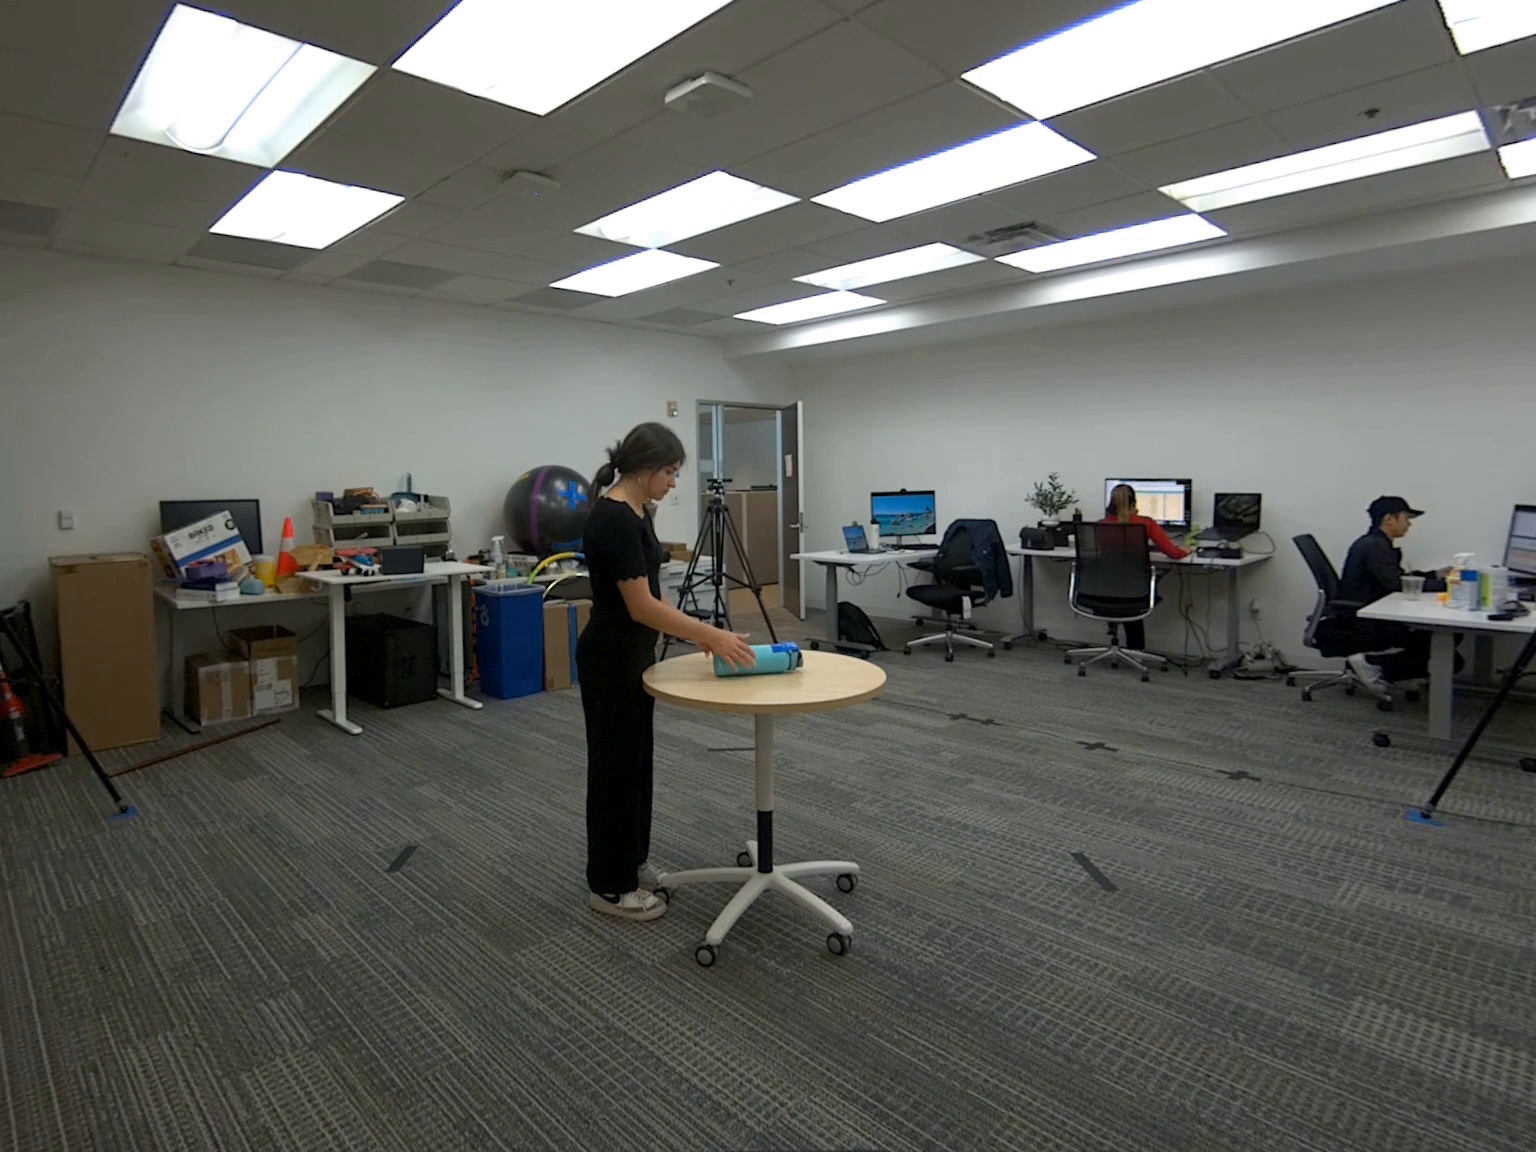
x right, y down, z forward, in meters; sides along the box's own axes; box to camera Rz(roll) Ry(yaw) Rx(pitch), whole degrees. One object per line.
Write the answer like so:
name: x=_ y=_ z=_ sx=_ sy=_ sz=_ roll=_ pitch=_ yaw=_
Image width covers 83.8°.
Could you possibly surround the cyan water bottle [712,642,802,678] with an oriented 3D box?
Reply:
cyan water bottle: x=-0.028 y=0.260 z=2.688 sx=0.281 sy=0.092 sz=0.093 roll=-1 pitch=5 yaw=-9
